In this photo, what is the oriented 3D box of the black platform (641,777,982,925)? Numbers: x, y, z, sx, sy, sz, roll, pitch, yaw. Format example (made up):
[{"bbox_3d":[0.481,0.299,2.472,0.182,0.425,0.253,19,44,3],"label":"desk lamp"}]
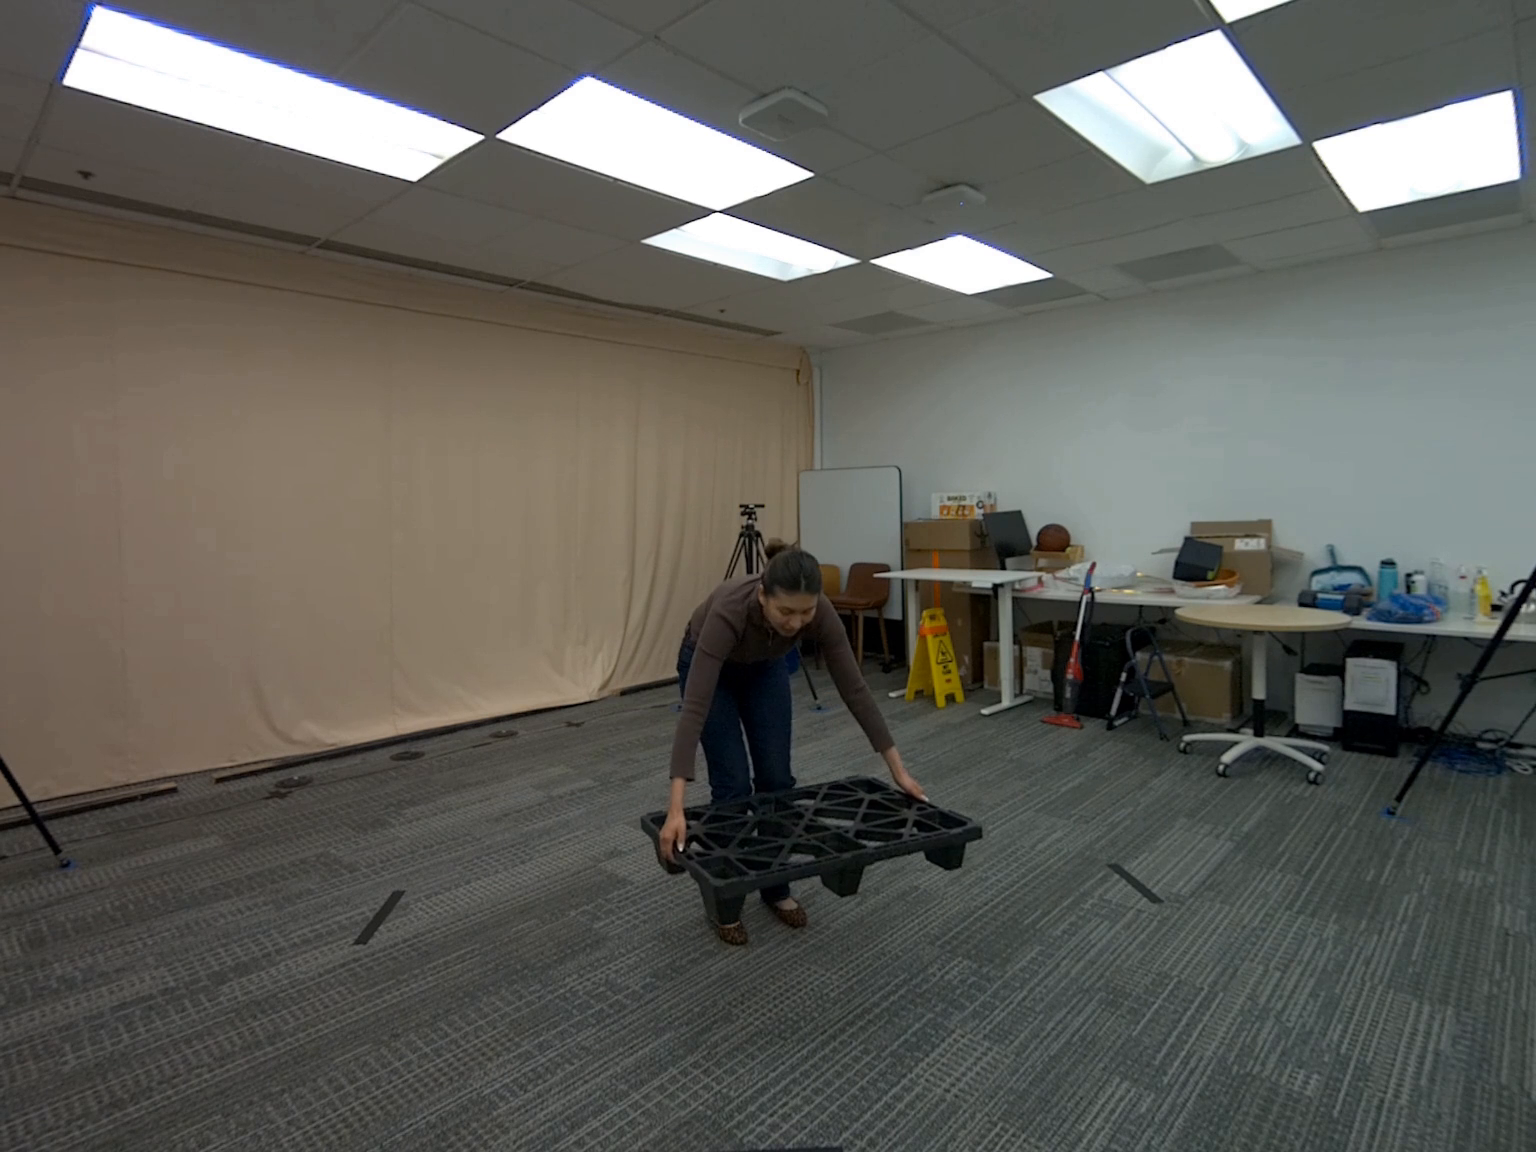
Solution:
[{"bbox_3d":[0.107,0.769,2.408,0.787,0.143,0.619,-4,2,-24],"label":"black platform"}]
